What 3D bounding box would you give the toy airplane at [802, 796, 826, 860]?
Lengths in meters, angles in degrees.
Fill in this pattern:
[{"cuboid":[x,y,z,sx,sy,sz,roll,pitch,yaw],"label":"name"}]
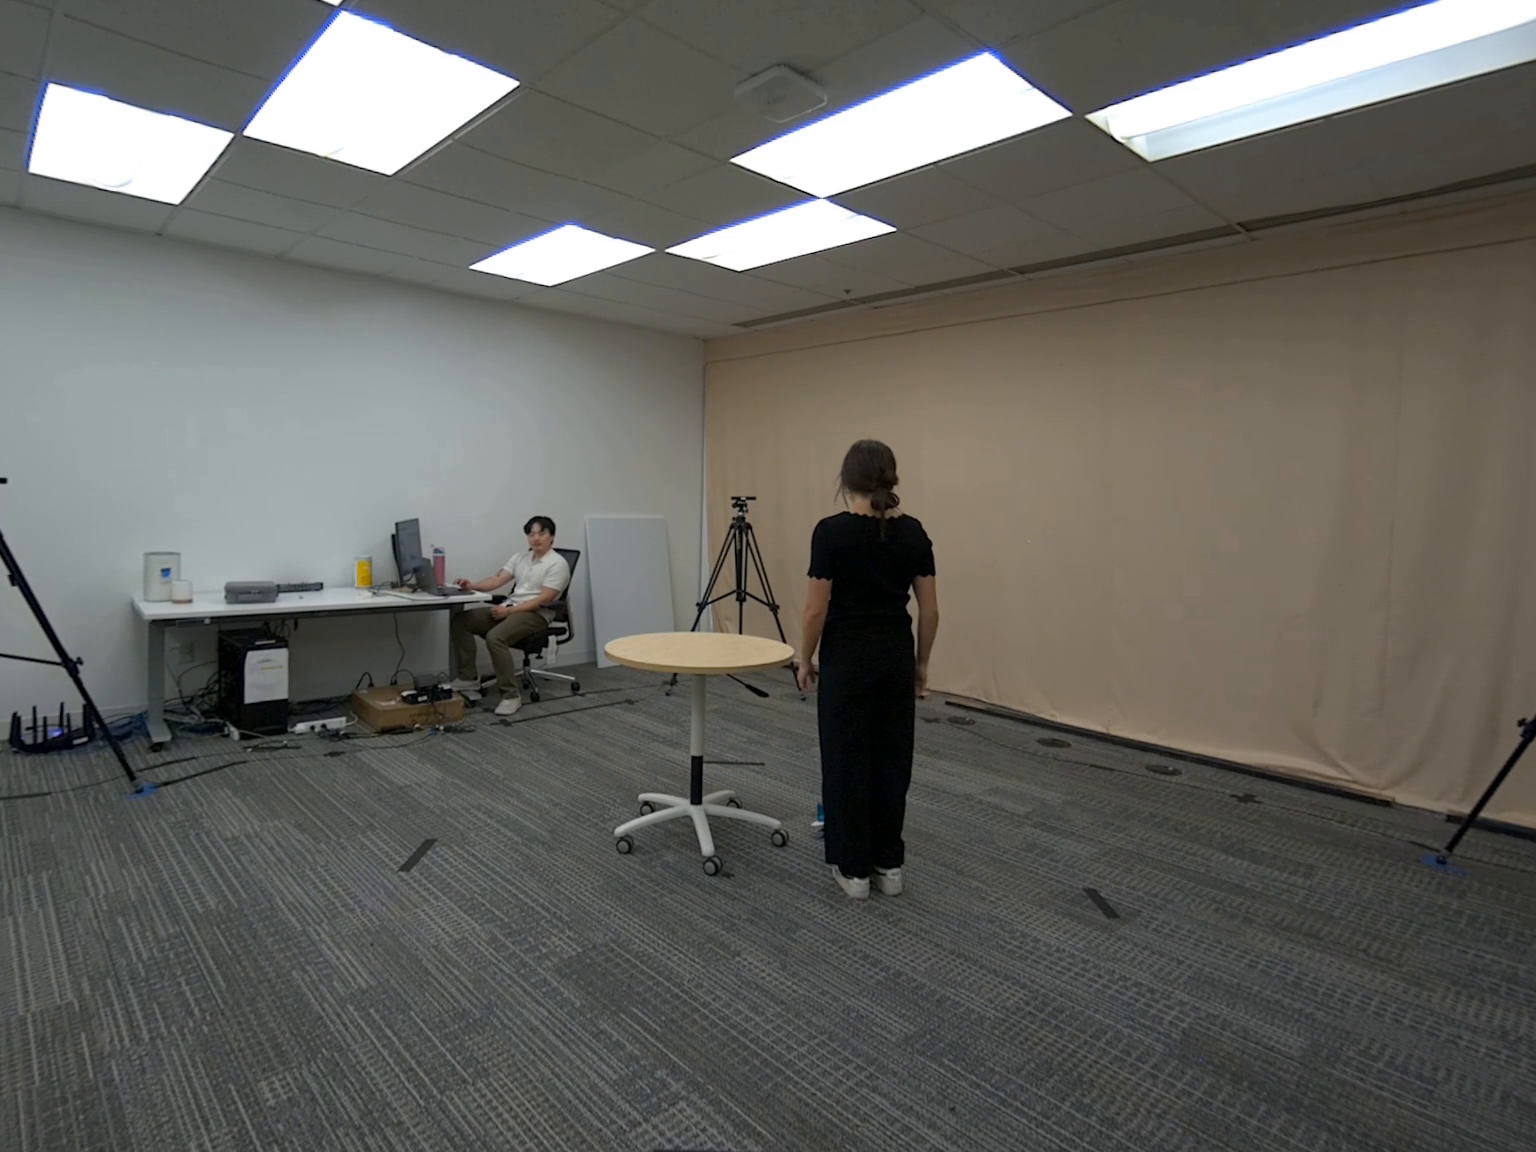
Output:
[{"cuboid":[0.282,1.022,3.420,0.261,0.156,0.250,3,4,8],"label":"toy airplane"}]
